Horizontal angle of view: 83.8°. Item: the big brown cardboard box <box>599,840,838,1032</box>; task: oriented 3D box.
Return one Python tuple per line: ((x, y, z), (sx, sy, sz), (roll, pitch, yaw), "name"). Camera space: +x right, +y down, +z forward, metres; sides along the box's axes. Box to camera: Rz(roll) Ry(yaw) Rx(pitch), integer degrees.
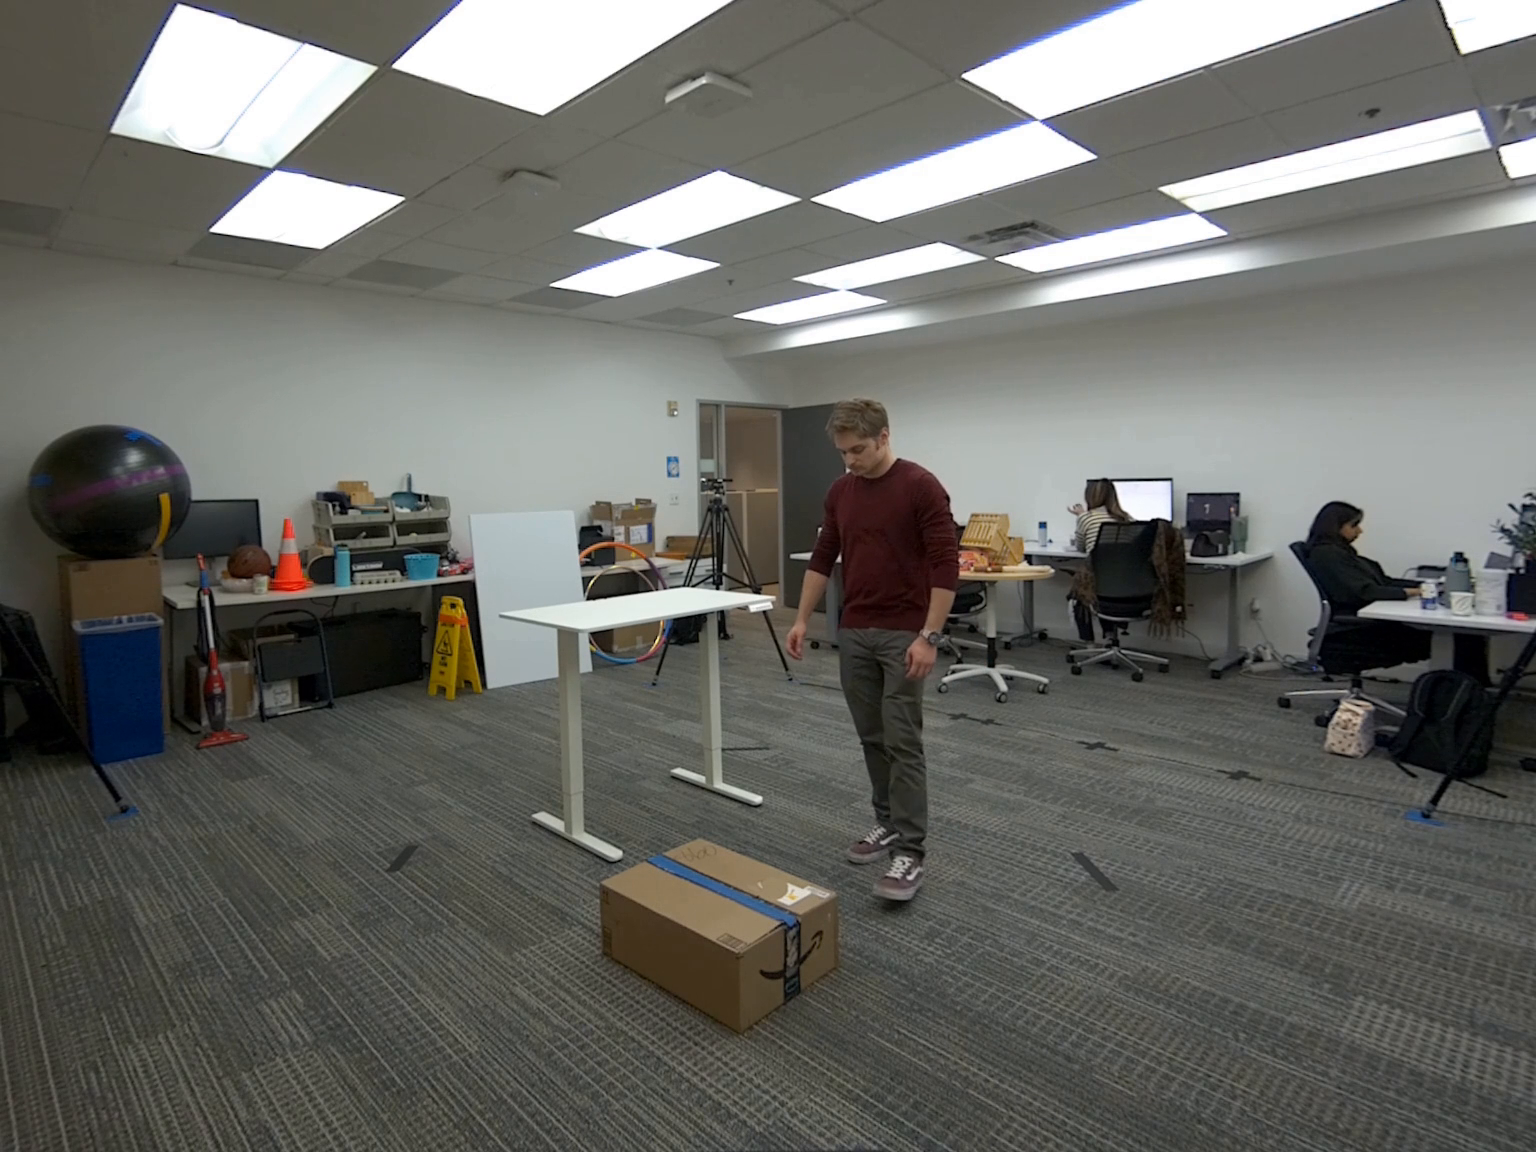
((-0.142, 1.011, 2.479), (0.607, 0.232, 0.407), (4, 8, 42), "big brown cardboard box")
